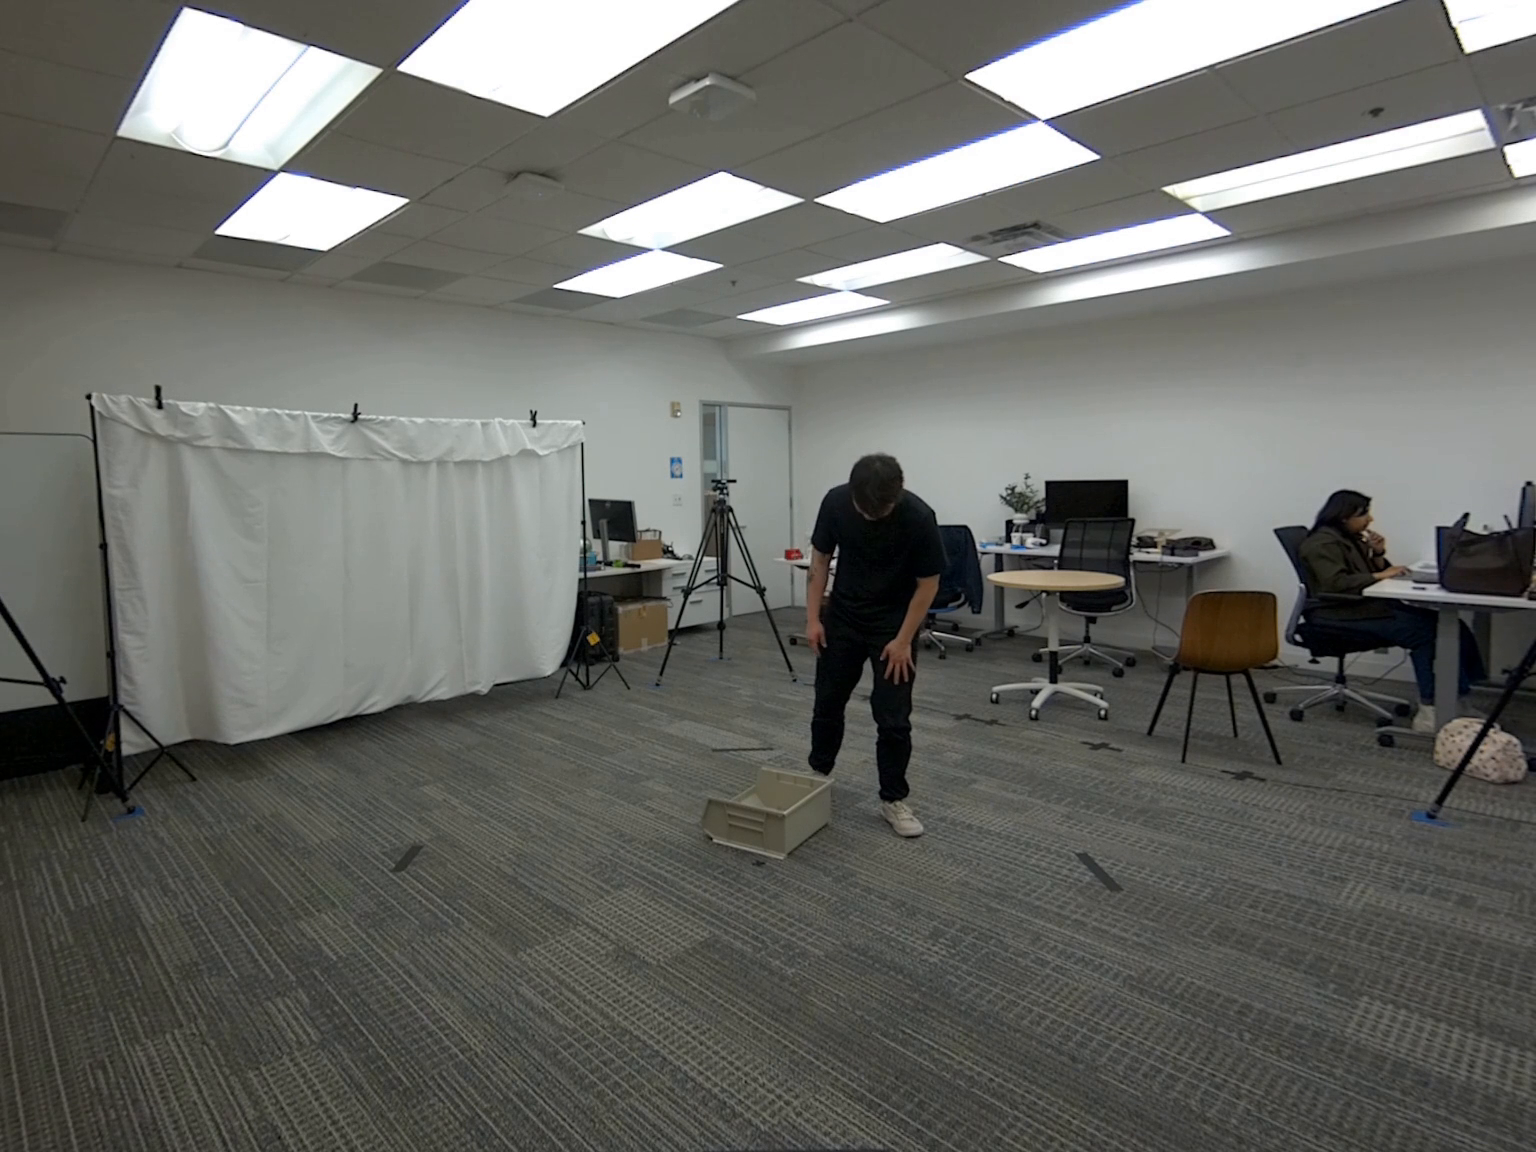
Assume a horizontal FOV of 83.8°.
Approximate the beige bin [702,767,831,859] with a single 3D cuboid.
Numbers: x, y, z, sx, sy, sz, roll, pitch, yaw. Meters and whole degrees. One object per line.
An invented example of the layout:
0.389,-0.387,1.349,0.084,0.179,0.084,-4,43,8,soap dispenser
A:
0.004,0.927,3.392,0.388,0.188,0.413,4,7,31,beige bin
